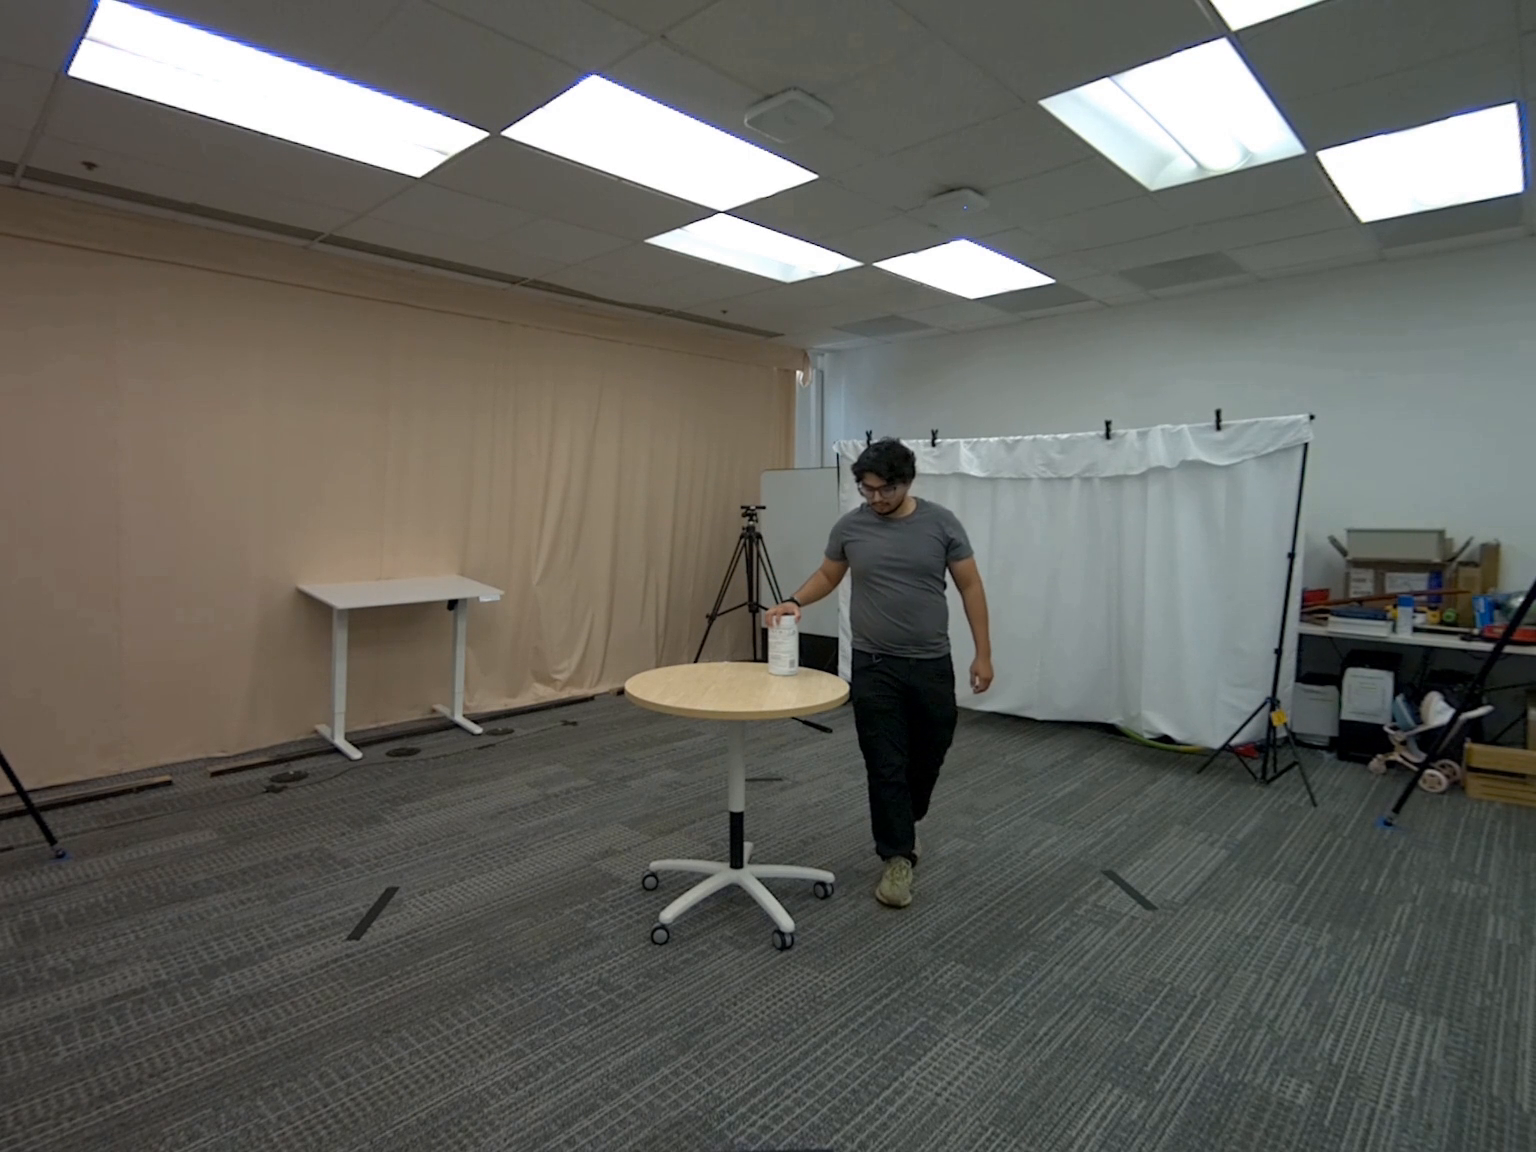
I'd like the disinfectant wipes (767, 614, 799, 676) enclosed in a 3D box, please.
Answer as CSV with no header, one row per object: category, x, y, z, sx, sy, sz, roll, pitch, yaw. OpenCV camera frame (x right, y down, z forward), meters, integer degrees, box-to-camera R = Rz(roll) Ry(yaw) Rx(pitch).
disinfectant wipes,0.063,0.250,3.060,0.118,0.217,0.118,1,0,-2
